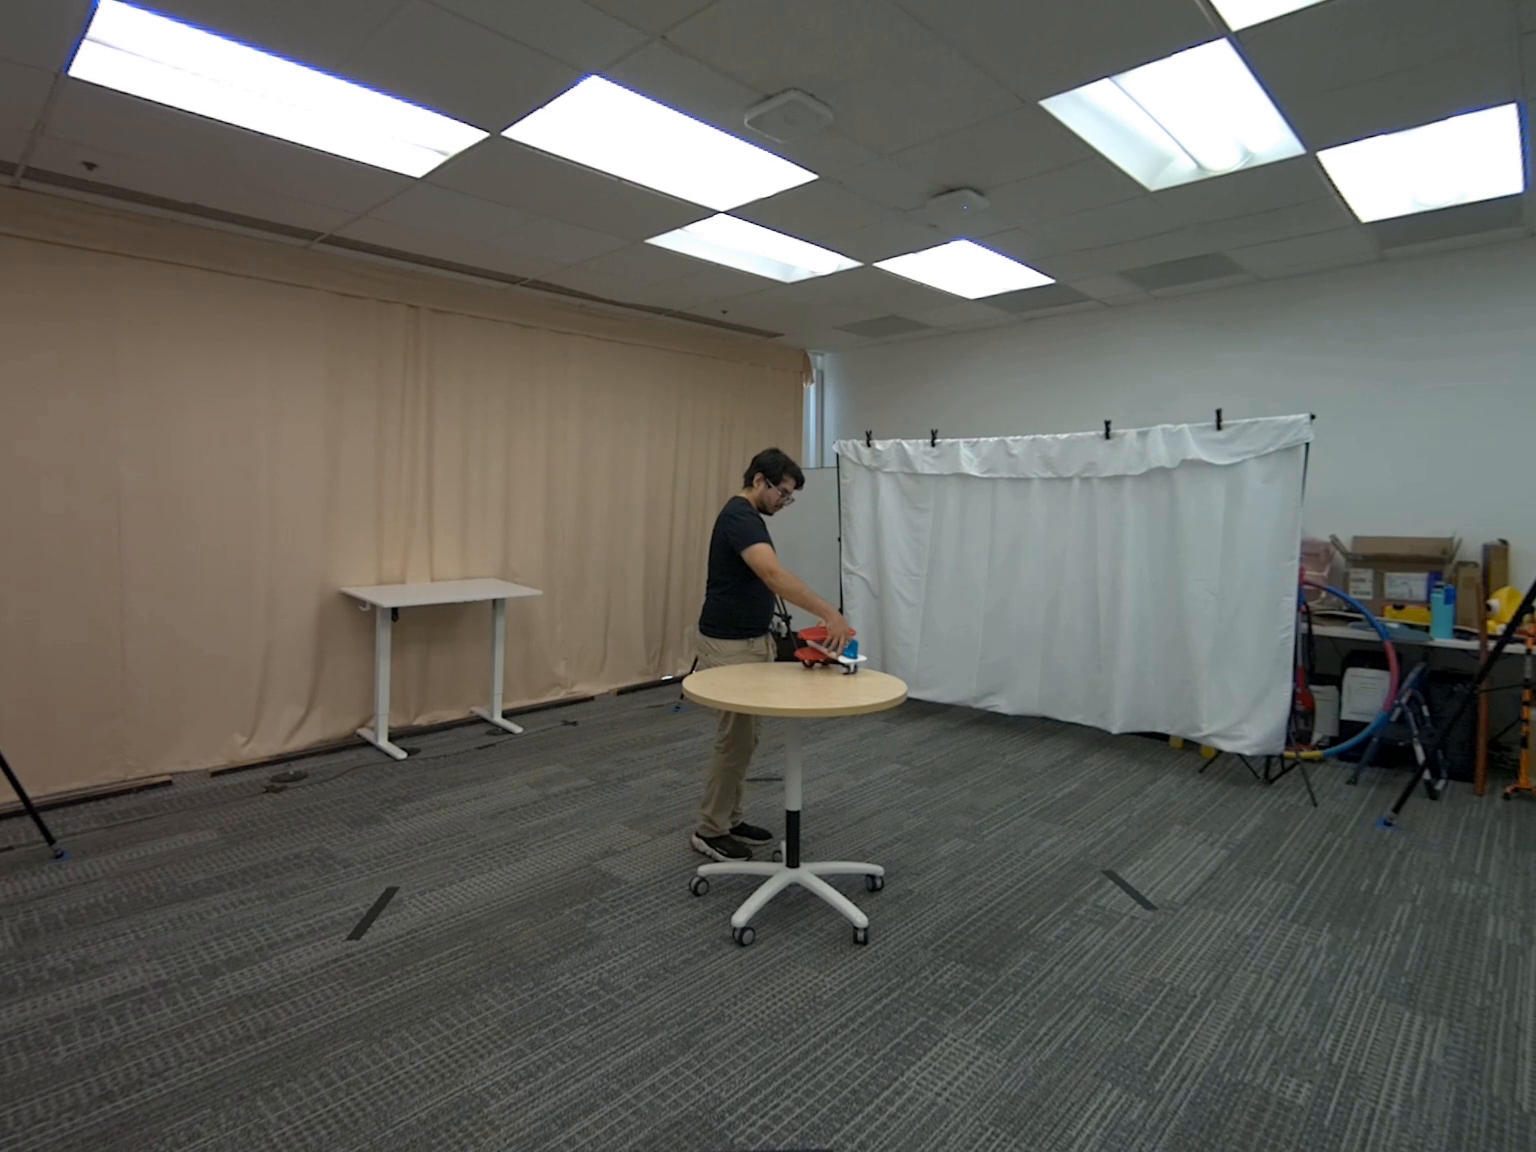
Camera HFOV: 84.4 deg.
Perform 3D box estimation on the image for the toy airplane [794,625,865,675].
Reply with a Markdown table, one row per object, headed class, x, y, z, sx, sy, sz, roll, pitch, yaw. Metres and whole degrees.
| class | x | y | z | sx | sy | sz | roll | pitch | yaw |
| --- | --- | --- | --- | --- | --- | --- | --- | --- | --- |
| toy airplane | 0.248 | 0.270 | 3.131 | 0.266 | 0.156 | 0.245 | 1 | 5 | 27 |
